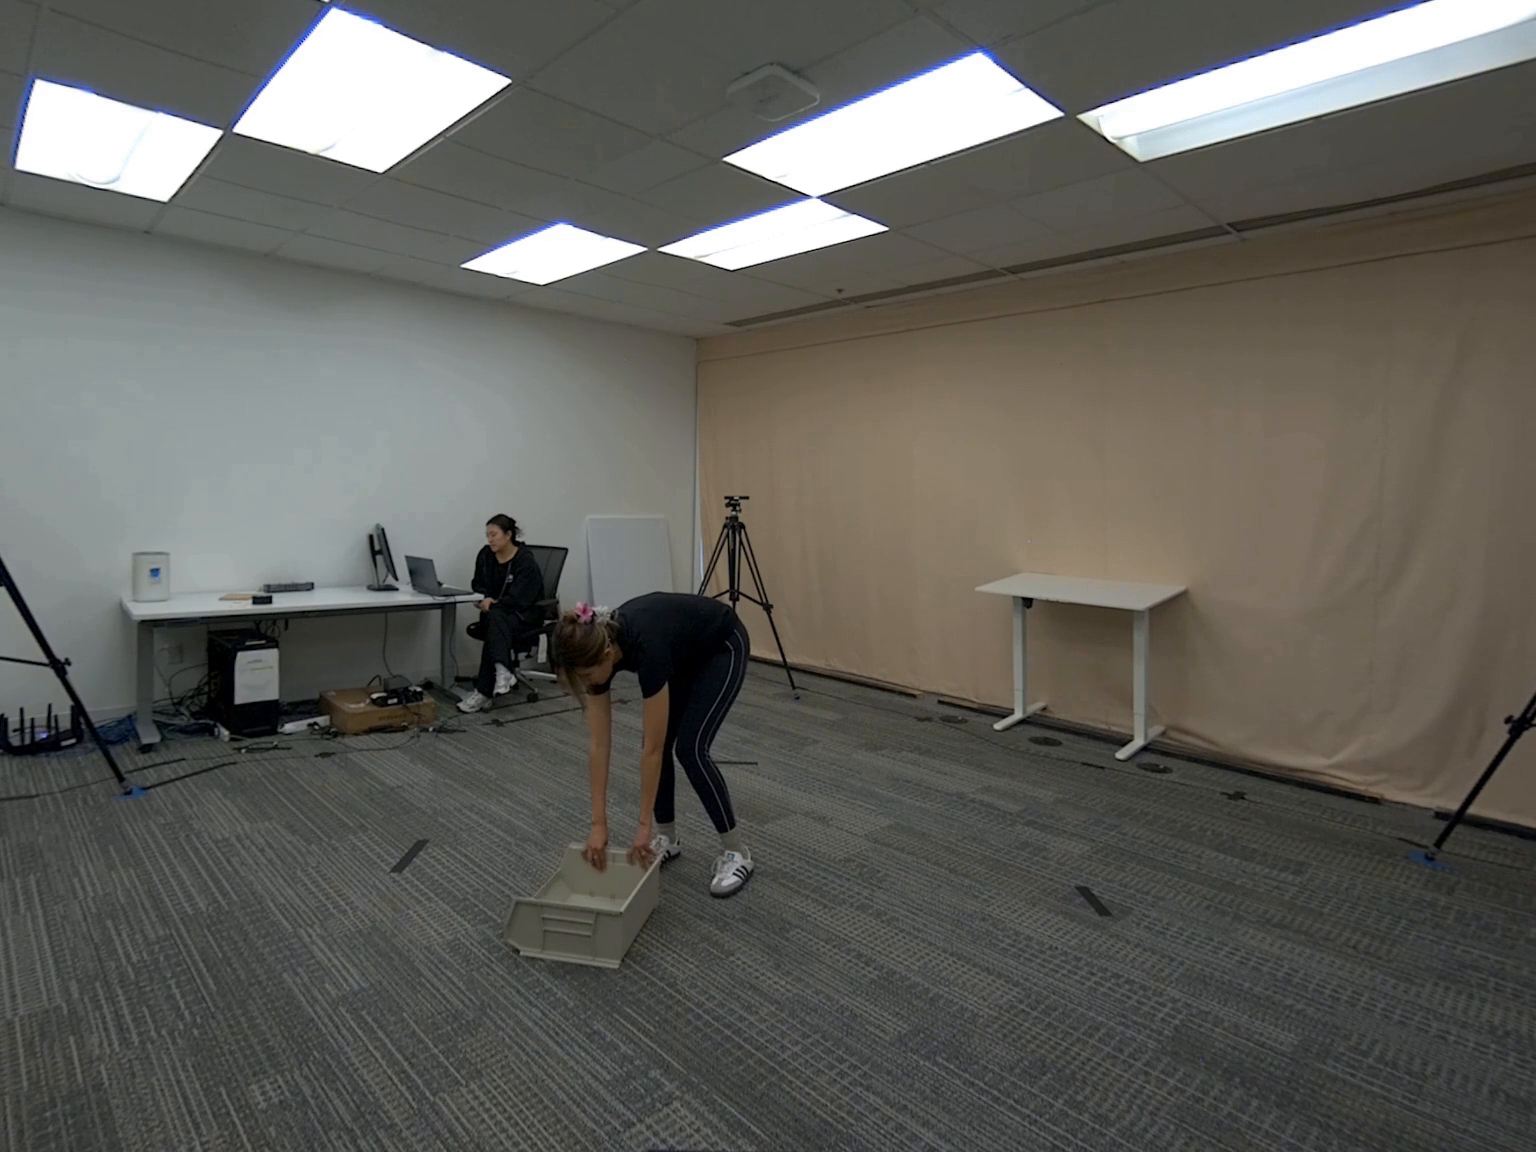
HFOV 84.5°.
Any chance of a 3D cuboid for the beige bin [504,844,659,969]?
[{"bbox_3d":[-0.580,1.042,2.696,0.381,0.188,0.419,2,4,10],"label":"beige bin"}]
